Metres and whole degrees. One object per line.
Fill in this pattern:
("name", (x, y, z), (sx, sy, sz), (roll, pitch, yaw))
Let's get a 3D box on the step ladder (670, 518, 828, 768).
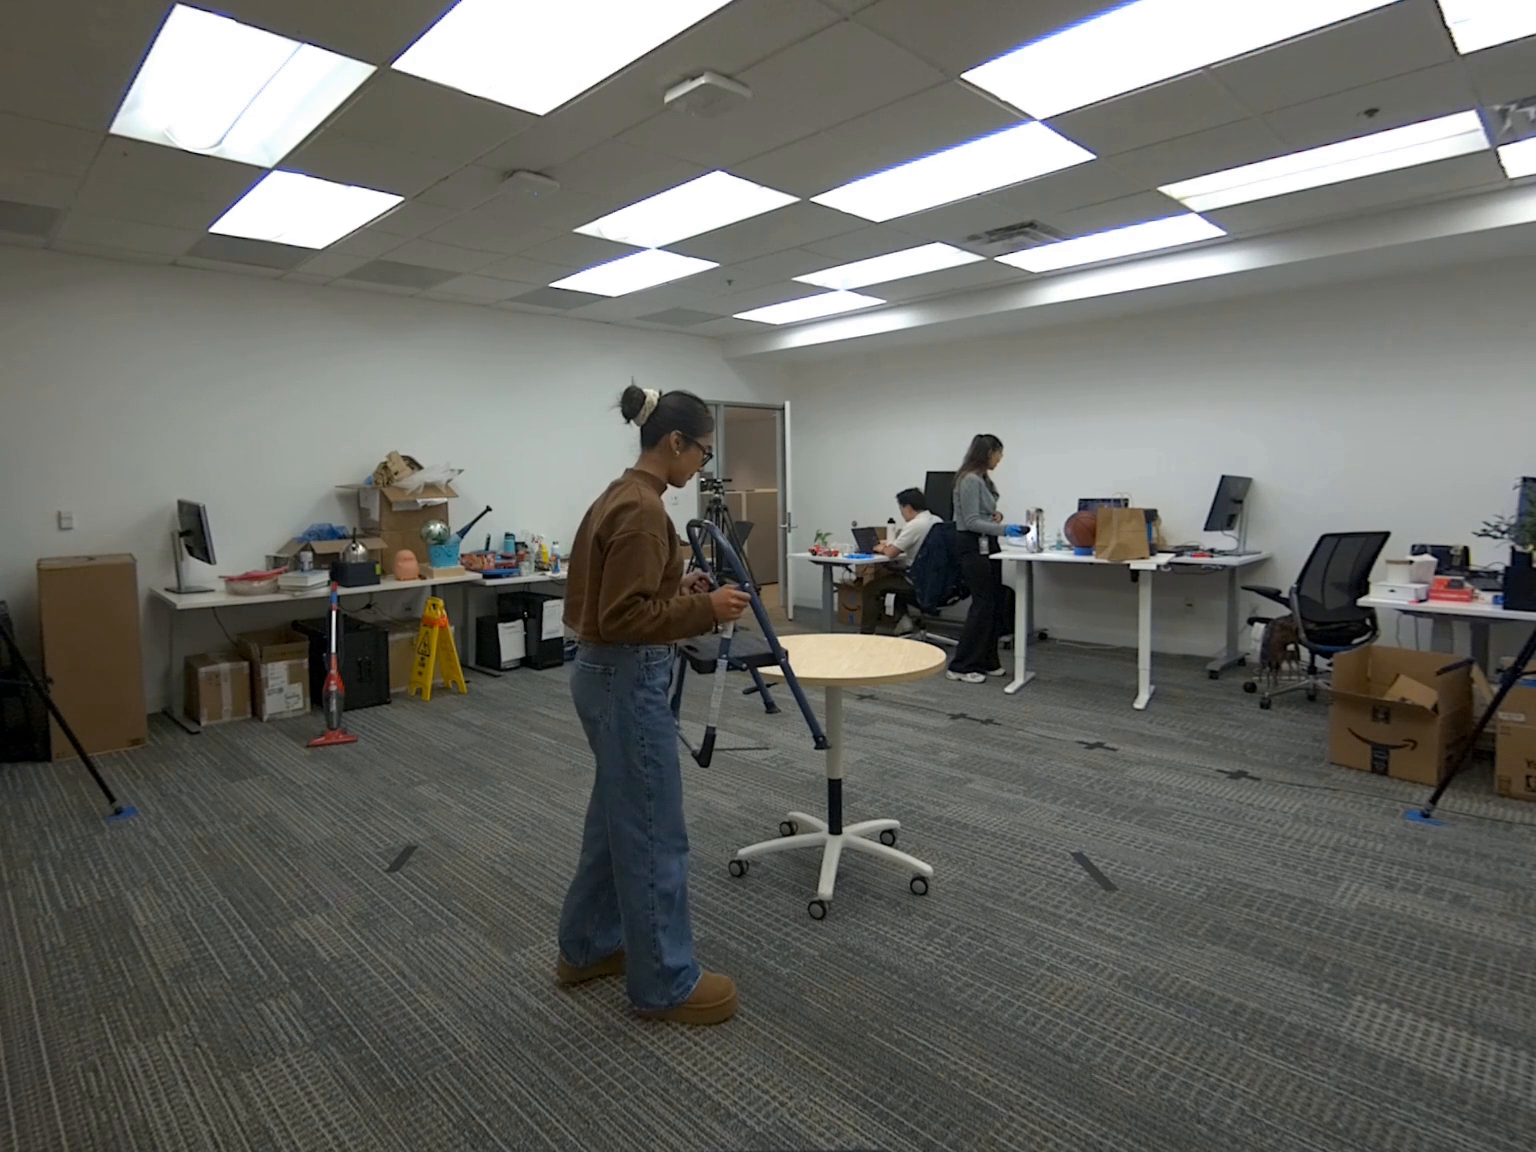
("step ladder", (-0.091, 0.139, 2.330), (0.345, 0.603, 0.438), (-8, 5, -17))
